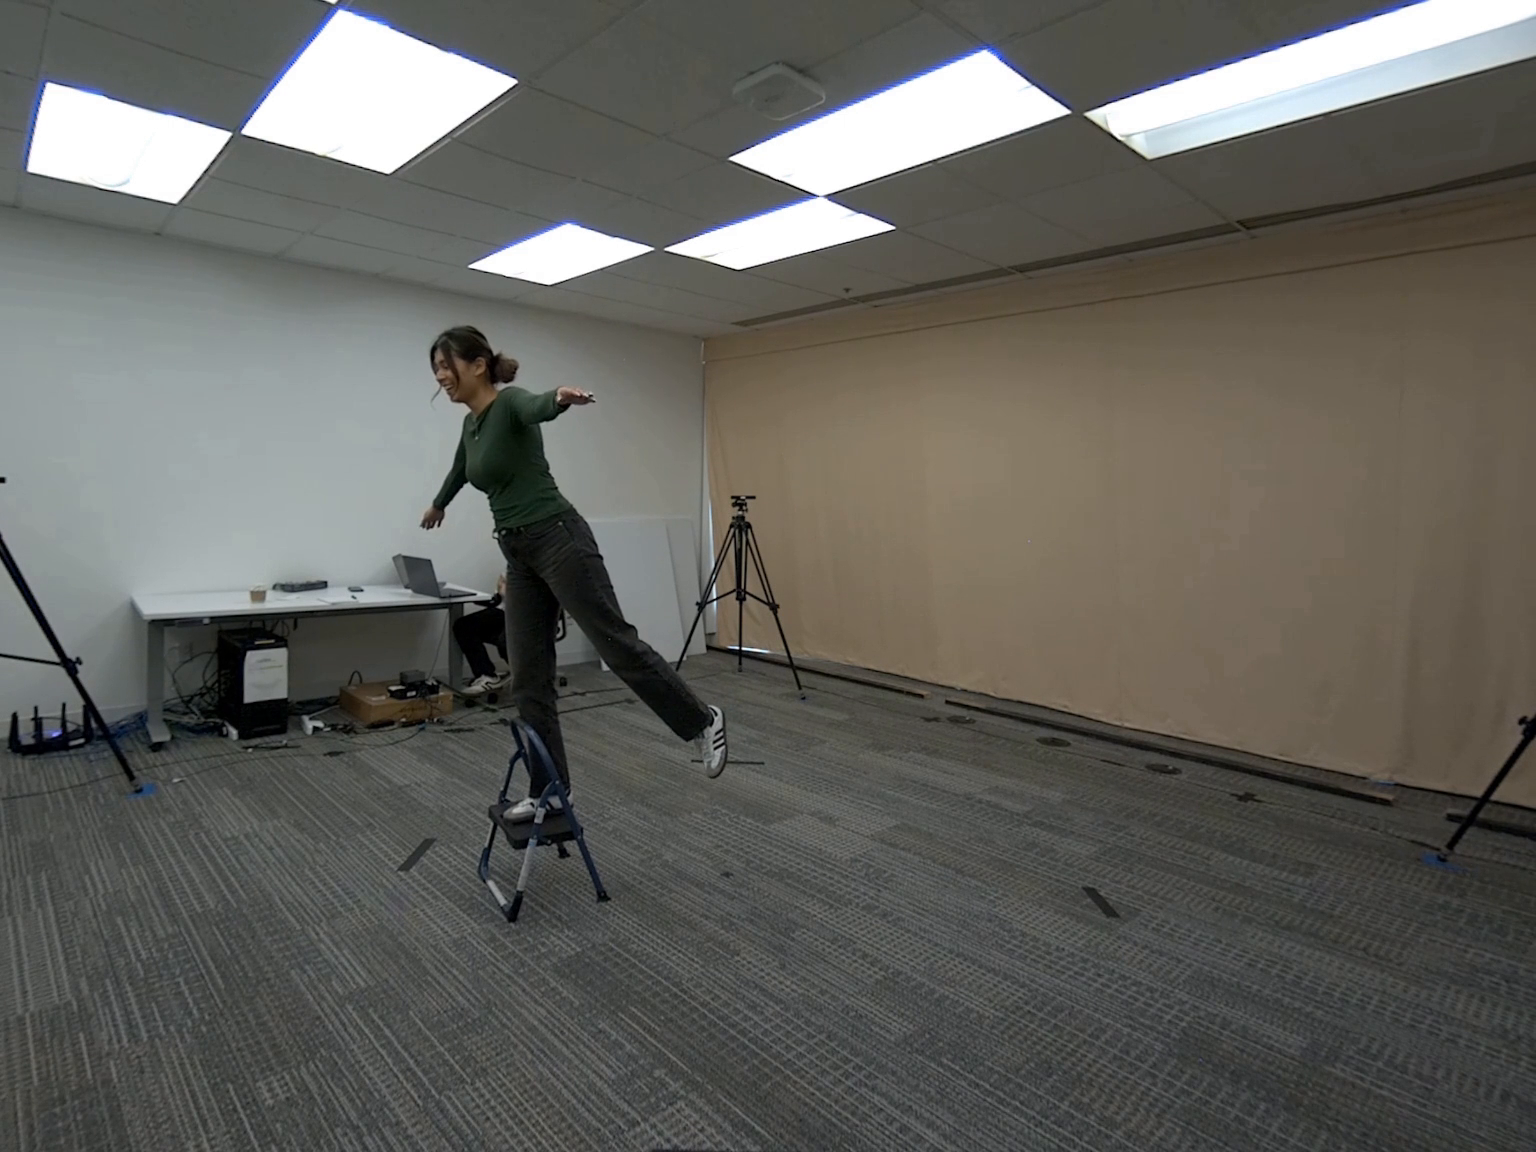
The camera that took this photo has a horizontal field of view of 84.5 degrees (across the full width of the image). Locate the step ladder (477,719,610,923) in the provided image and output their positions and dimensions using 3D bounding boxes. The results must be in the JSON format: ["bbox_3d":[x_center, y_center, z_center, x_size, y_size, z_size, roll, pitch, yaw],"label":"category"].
[{"bbox_3d":[-0.802,0.801,2.960,0.342,0.604,0.441,-1,4,-33],"label":"step ladder"}]
